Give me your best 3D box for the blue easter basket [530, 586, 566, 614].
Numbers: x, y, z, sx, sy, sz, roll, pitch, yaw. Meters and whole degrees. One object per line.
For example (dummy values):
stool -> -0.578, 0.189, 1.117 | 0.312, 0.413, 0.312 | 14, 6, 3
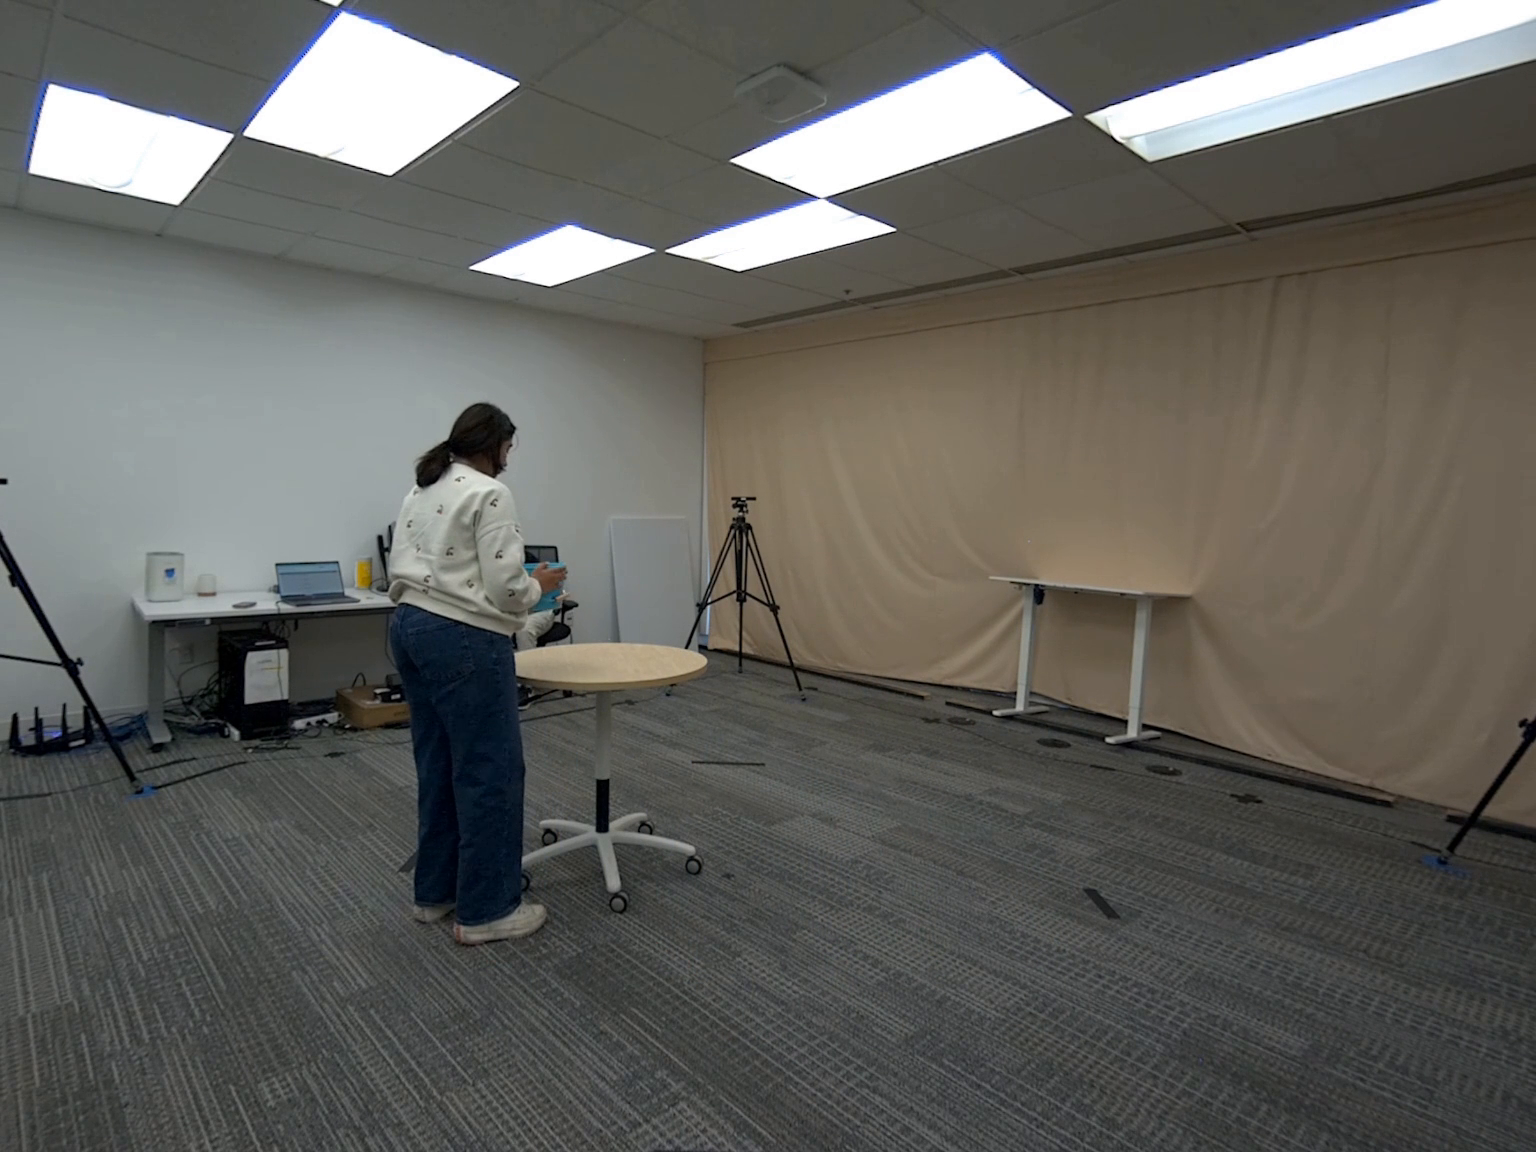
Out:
blue easter basket -> -0.836, 0.042, 2.965 | 0.243, 0.155, 0.244 | -2, 5, -1
